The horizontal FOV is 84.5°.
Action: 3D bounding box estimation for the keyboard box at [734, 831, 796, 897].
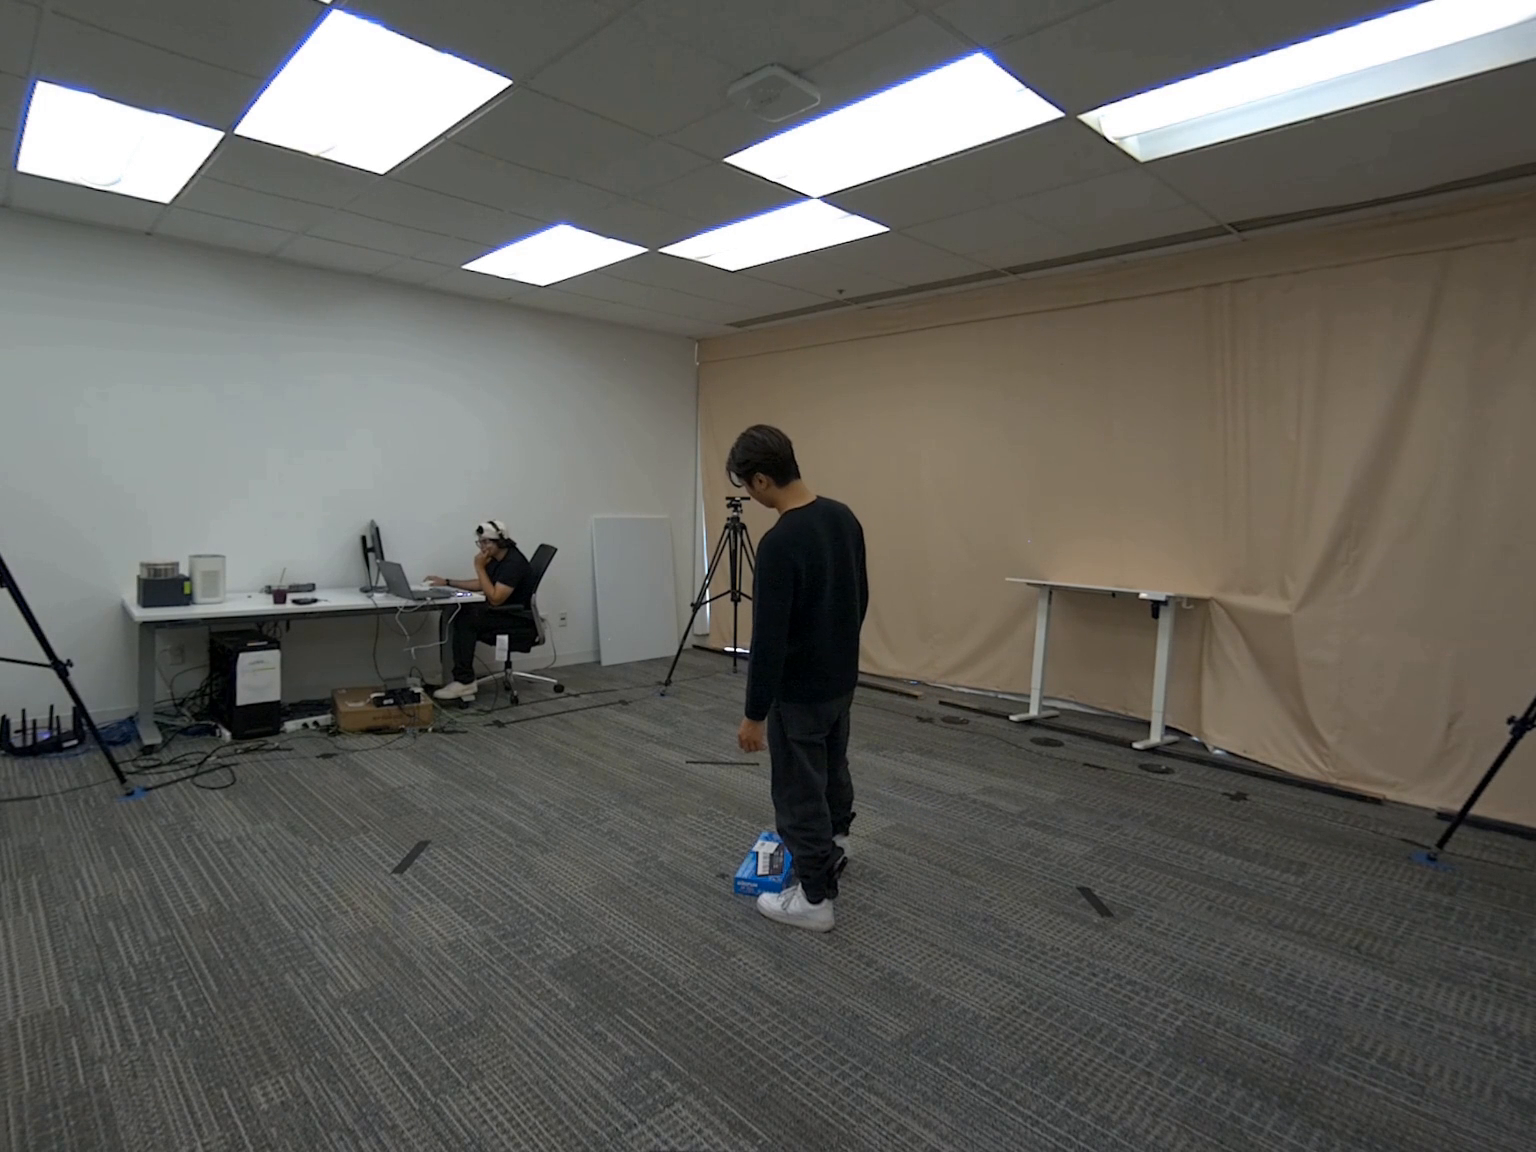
[{"bbox_3d":[0.000,1.073,3.149,0.178,0.059,0.433,2,5,12],"label":"keyboard box"}]
